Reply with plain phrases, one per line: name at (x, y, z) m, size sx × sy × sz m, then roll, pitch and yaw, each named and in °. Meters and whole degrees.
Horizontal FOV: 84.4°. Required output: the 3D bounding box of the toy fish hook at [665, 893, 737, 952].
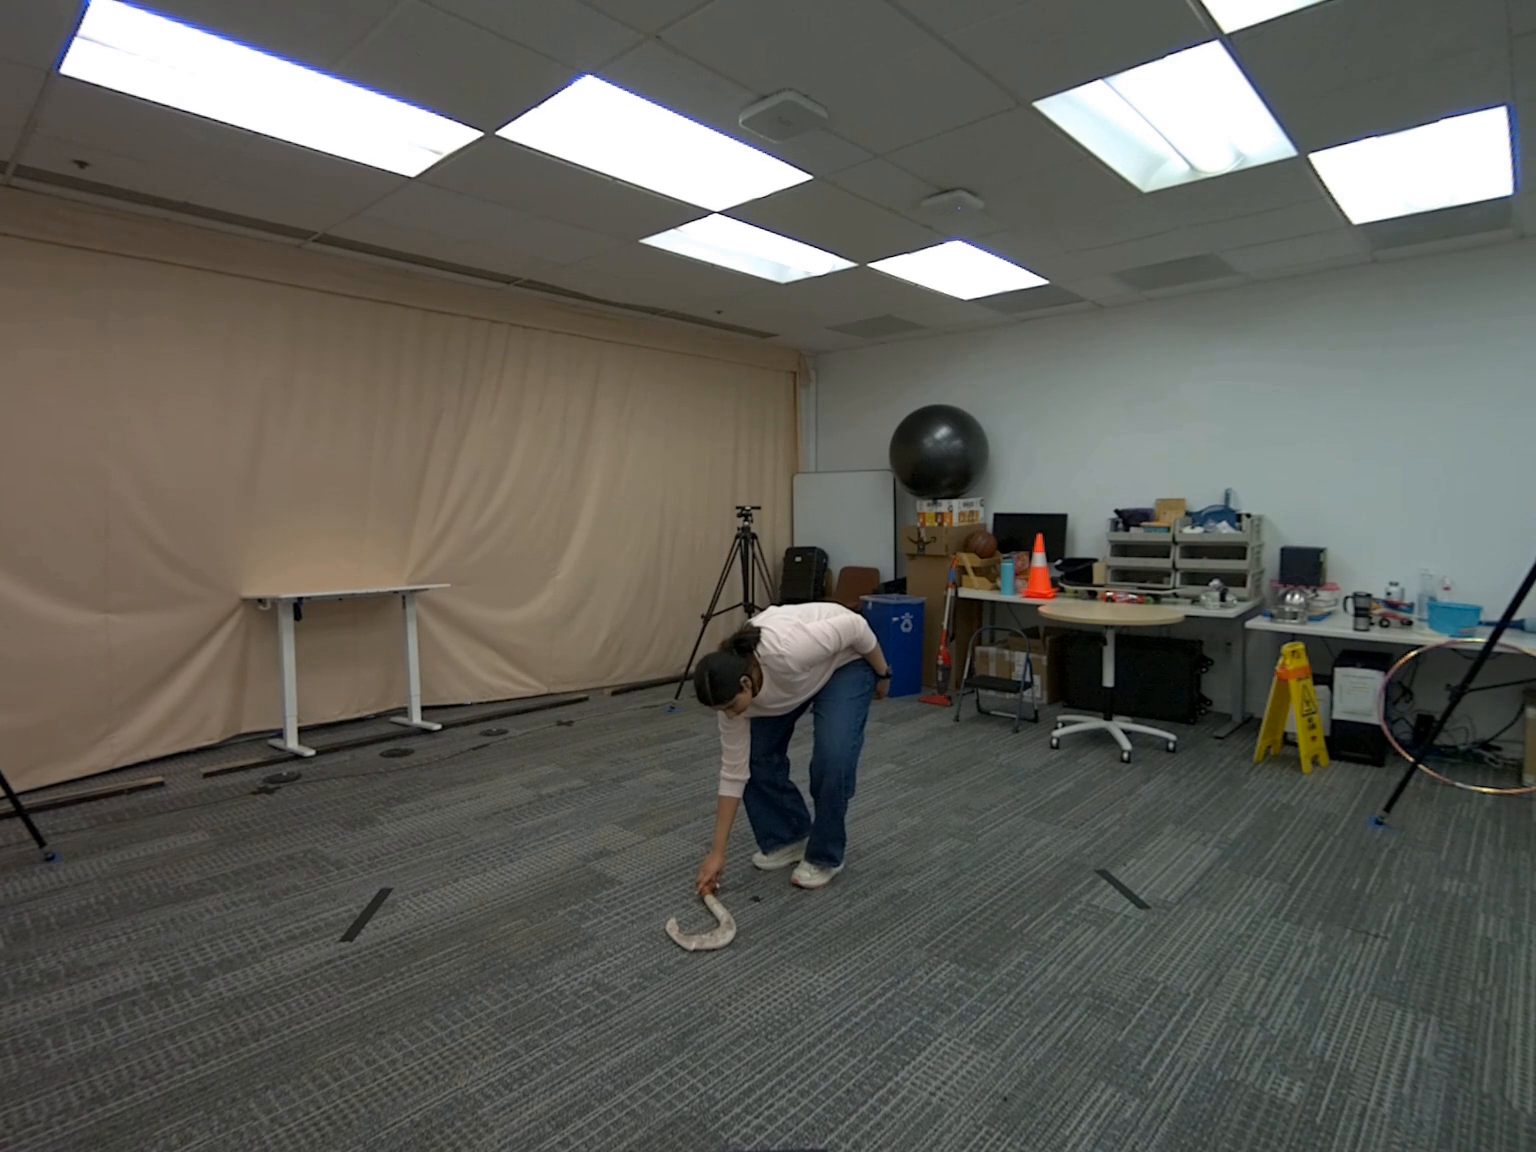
toy fish hook at (-0.237, 1.124, 2.881) m, size 0.222 × 0.048 × 0.513 m, roll 0°, pitch 6°, yaw -10°
